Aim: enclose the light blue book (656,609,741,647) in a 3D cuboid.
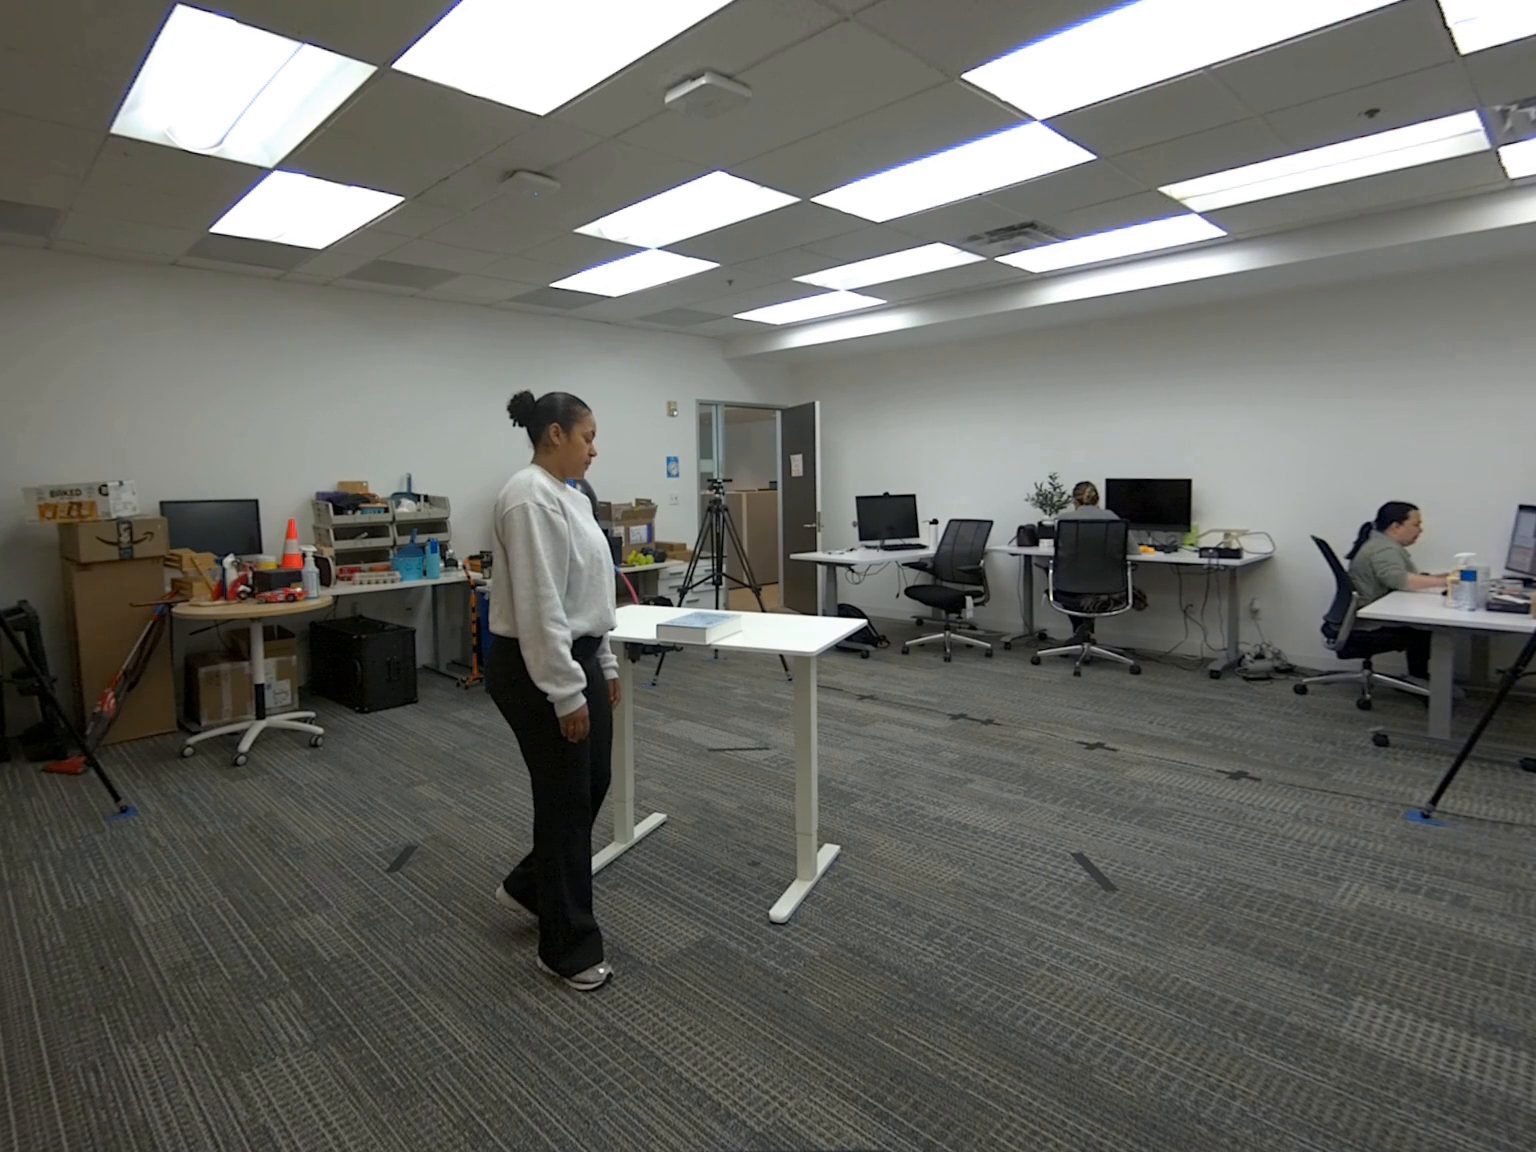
[{"bbox_3d":[-0.220,0.172,2.832,0.196,0.059,0.256,2,8,27],"label":"light blue book"}]
